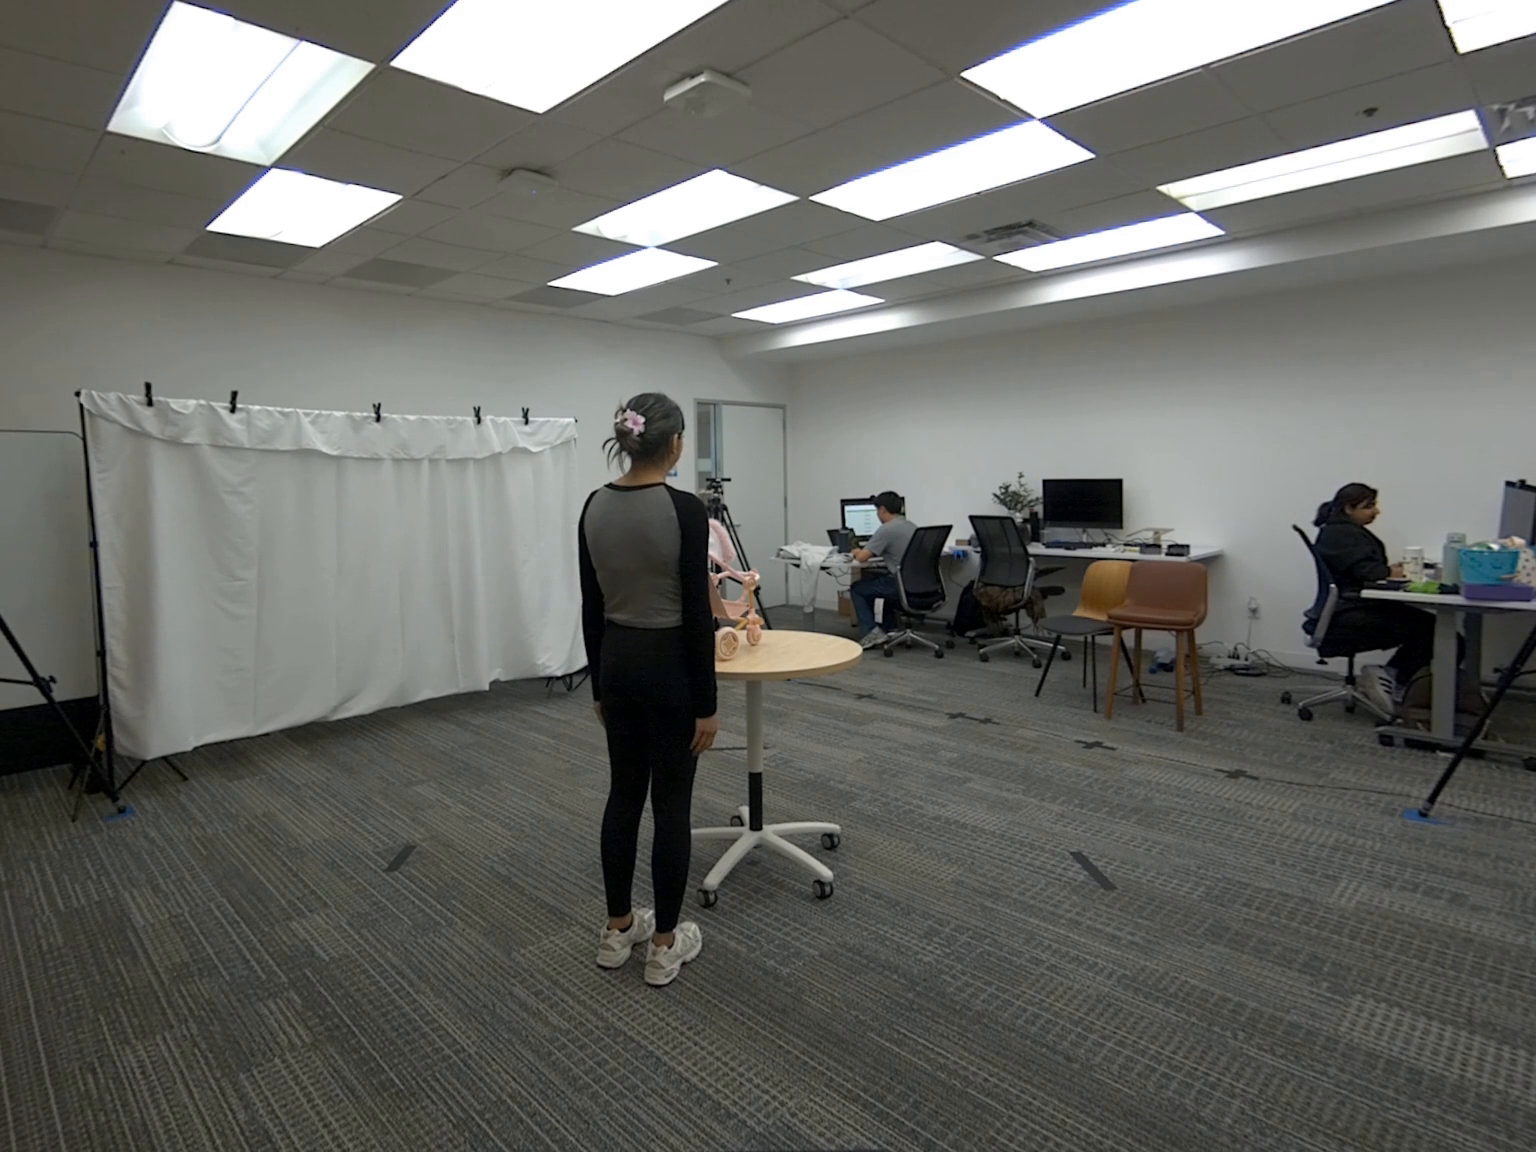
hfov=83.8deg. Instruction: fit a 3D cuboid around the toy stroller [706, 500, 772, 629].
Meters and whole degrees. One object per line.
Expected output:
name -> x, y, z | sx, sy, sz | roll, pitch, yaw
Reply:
toy stroller -> -0.178, 0.043, 2.956 | 0.336, 0.527, 0.290 | -25, 18, -37
